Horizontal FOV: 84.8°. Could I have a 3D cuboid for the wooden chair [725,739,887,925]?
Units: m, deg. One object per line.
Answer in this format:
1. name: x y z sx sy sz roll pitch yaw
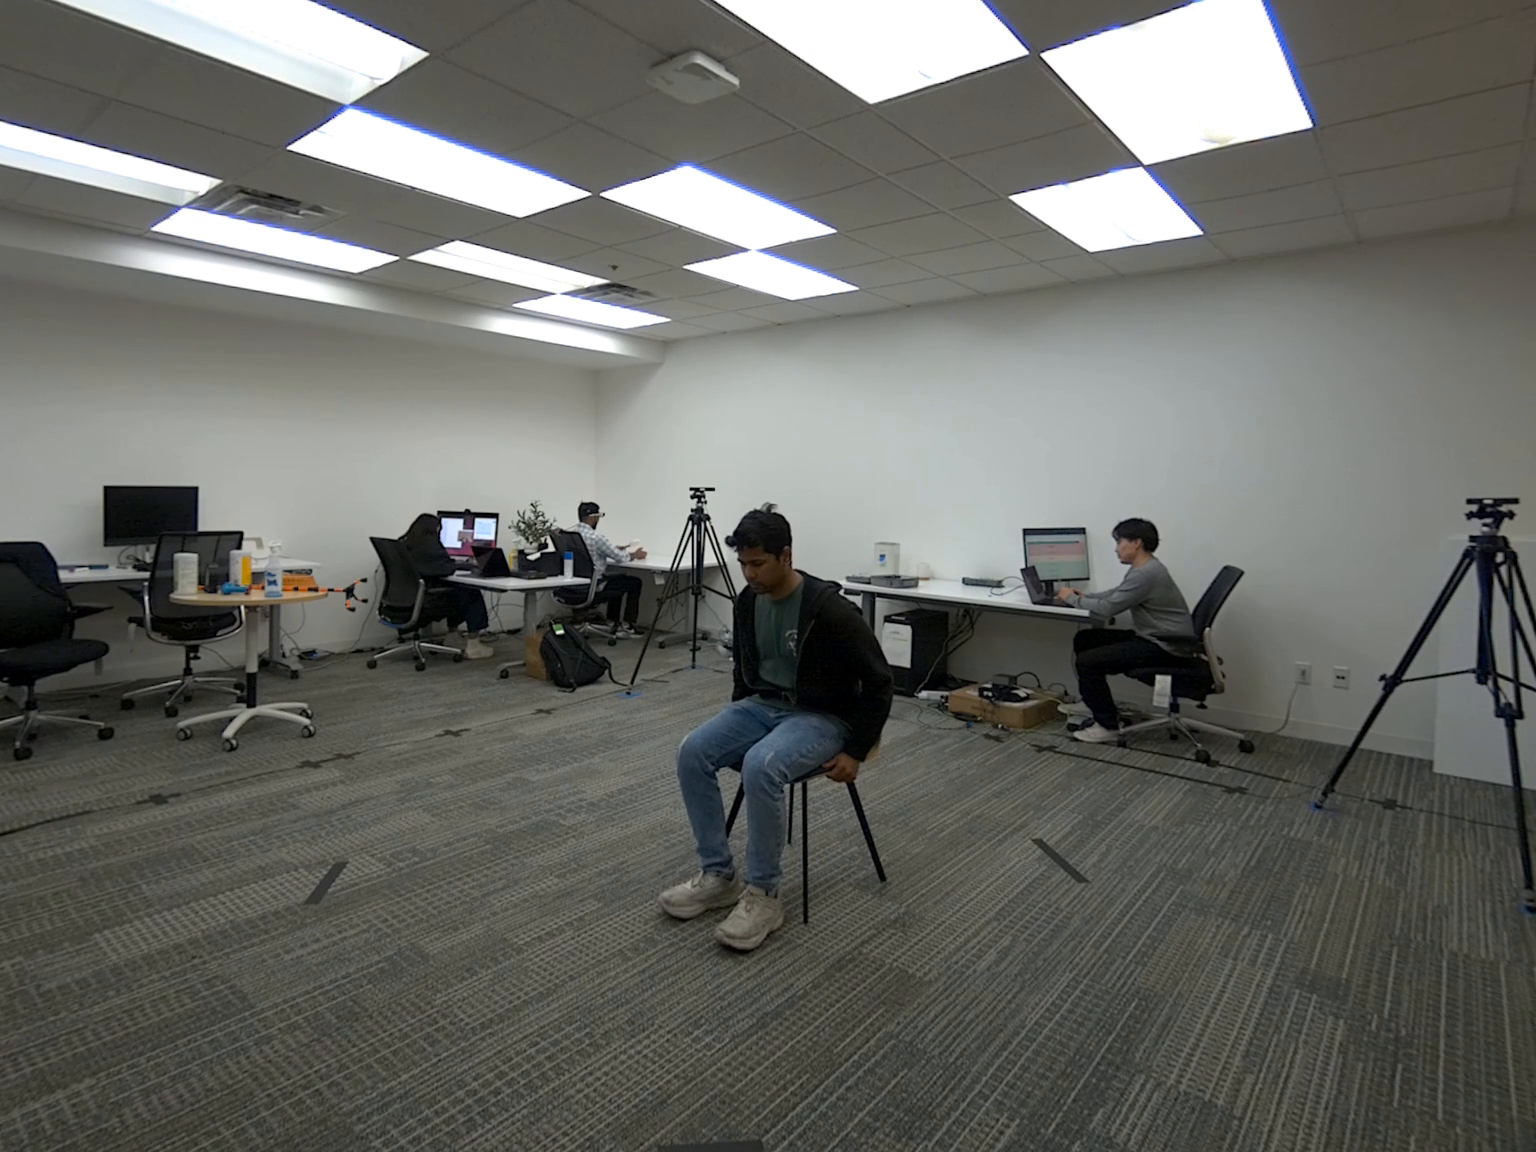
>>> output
1. wooden chair: 0.098 0.655 3.007 0.495 0.876 0.506 6 2 43
